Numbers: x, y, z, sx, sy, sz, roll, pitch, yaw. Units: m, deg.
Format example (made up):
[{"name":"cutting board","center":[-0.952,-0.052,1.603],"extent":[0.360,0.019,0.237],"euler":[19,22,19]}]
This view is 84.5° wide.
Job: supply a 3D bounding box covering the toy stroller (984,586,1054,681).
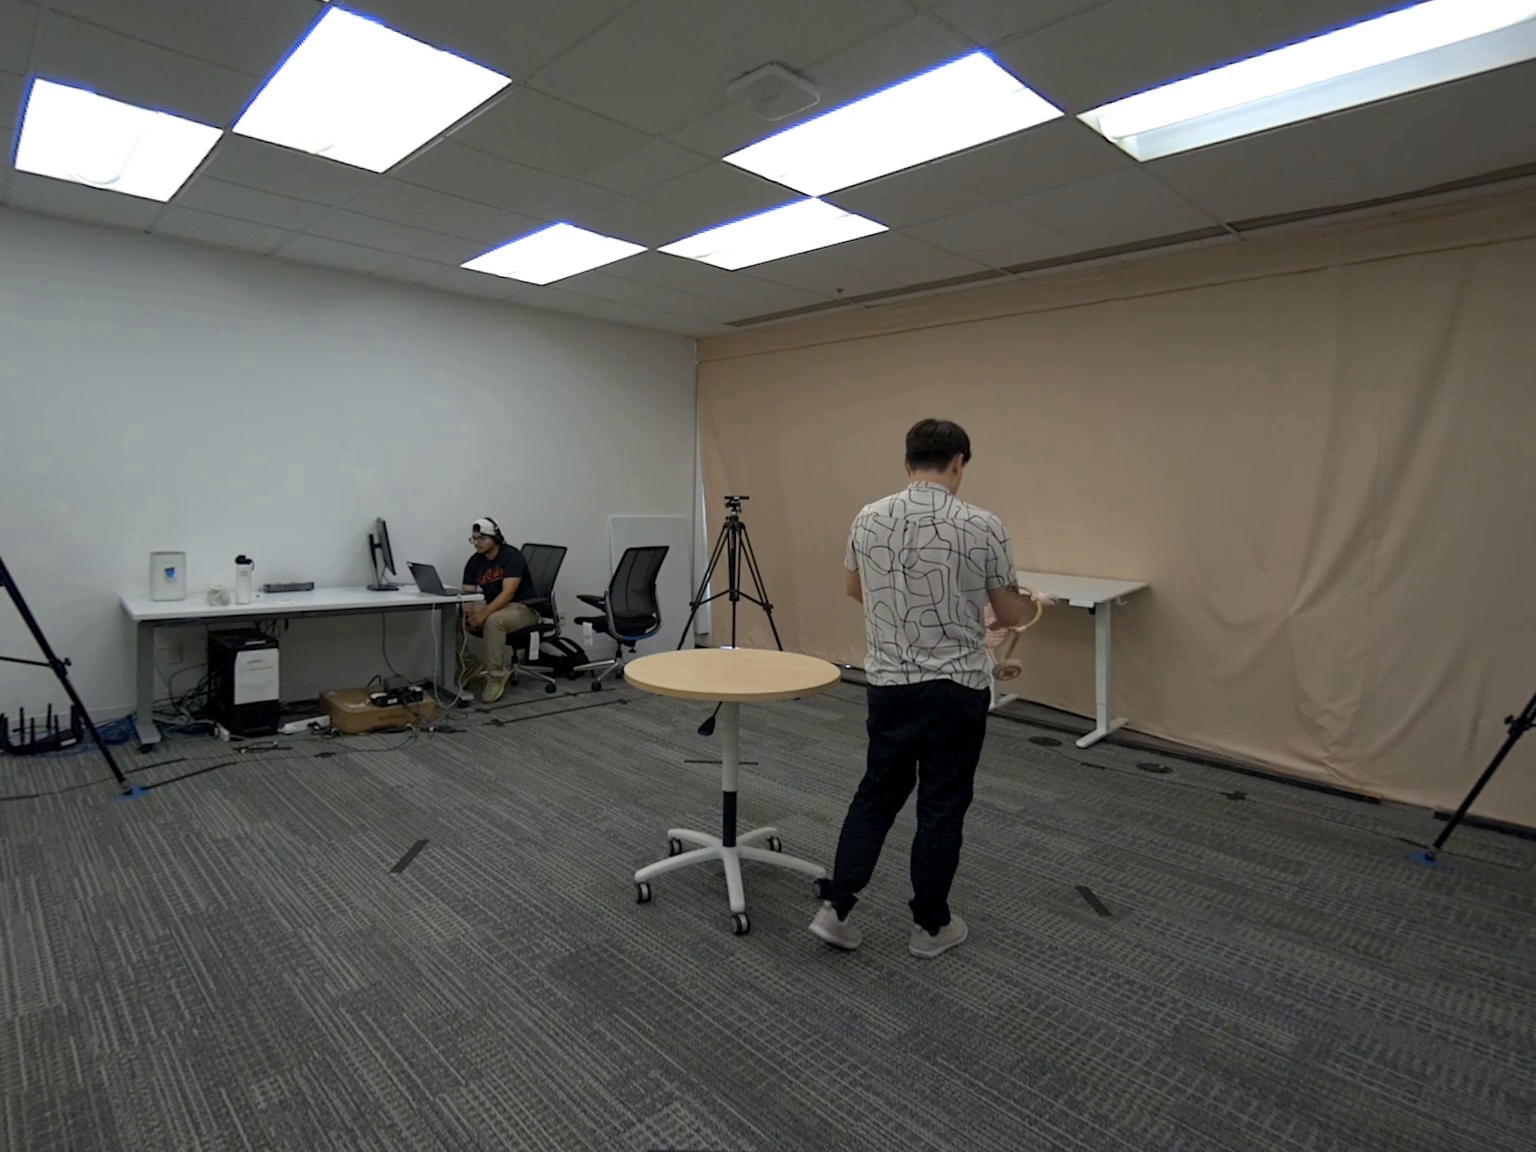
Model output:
[{"name":"toy stroller","center":[0.712,0.163,2.946],"extent":[0.527,0.338,0.289],"euler":[8,46,-18]}]
